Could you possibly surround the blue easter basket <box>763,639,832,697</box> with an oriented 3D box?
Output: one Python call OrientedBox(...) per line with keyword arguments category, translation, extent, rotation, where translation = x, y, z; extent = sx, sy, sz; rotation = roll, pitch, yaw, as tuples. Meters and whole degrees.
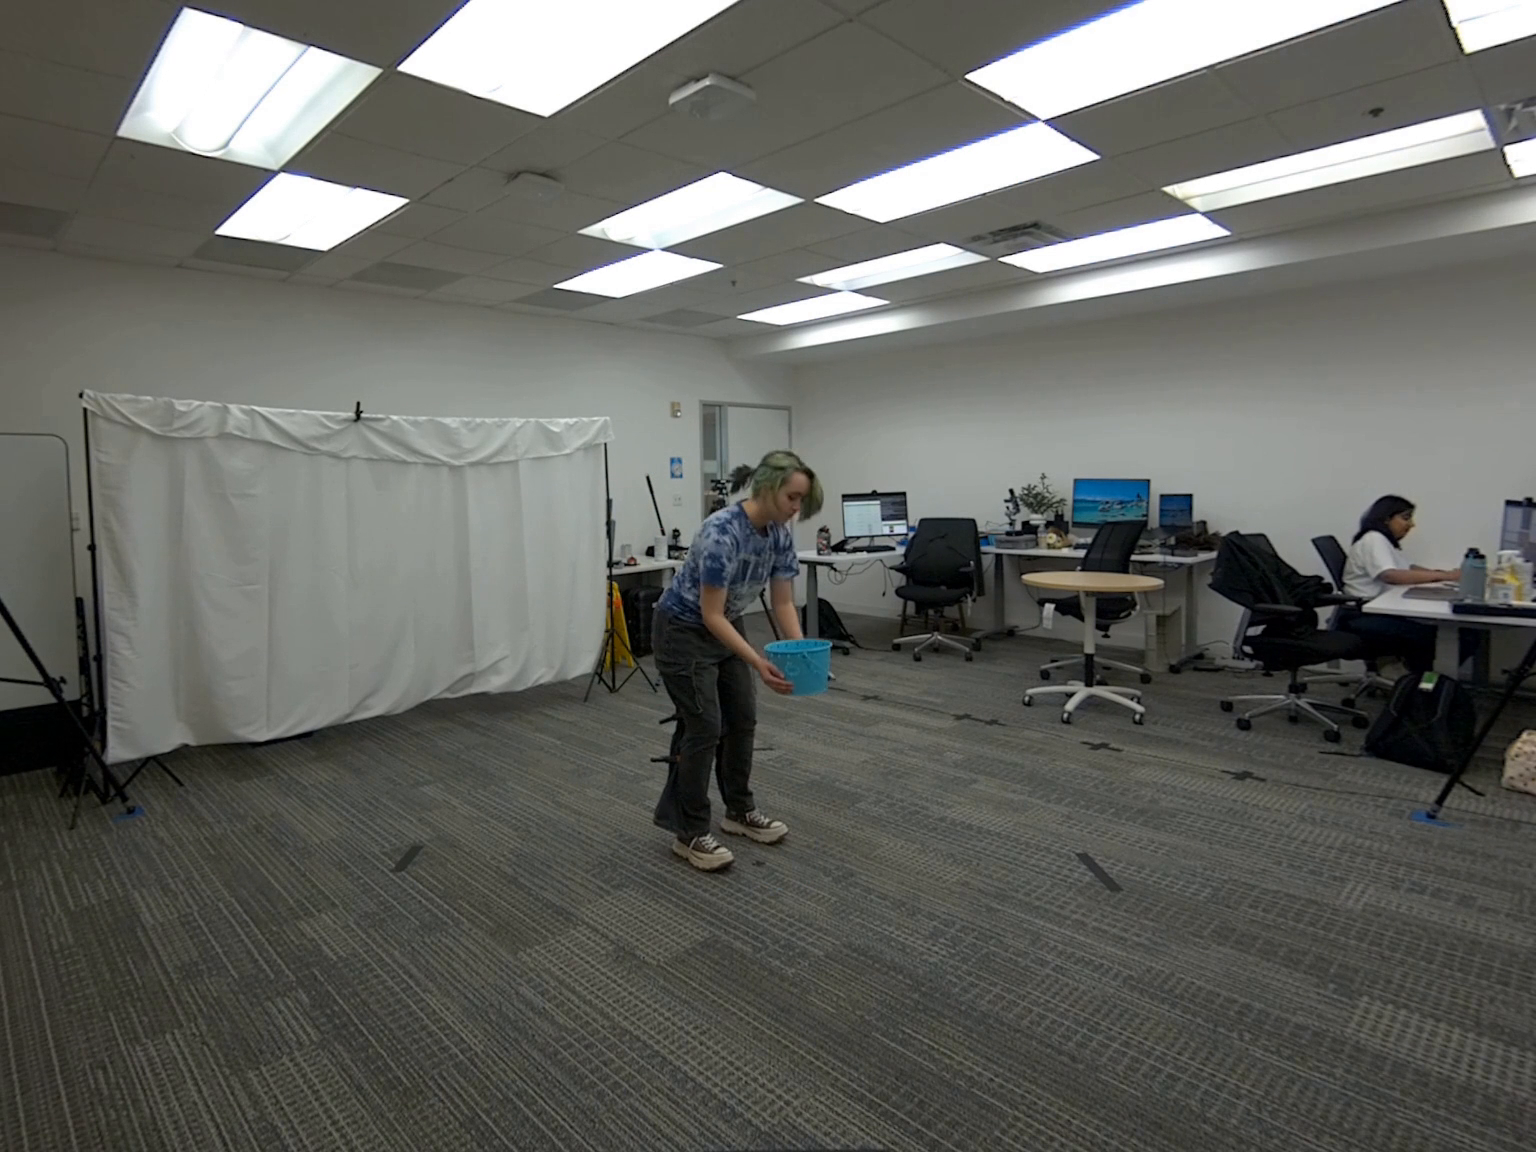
OrientedBox(category="blue easter basket", translation=(0.111, 0.323, 2.933), extent=(0.243, 0.155, 0.244), rotation=(-4, 4, -1))
